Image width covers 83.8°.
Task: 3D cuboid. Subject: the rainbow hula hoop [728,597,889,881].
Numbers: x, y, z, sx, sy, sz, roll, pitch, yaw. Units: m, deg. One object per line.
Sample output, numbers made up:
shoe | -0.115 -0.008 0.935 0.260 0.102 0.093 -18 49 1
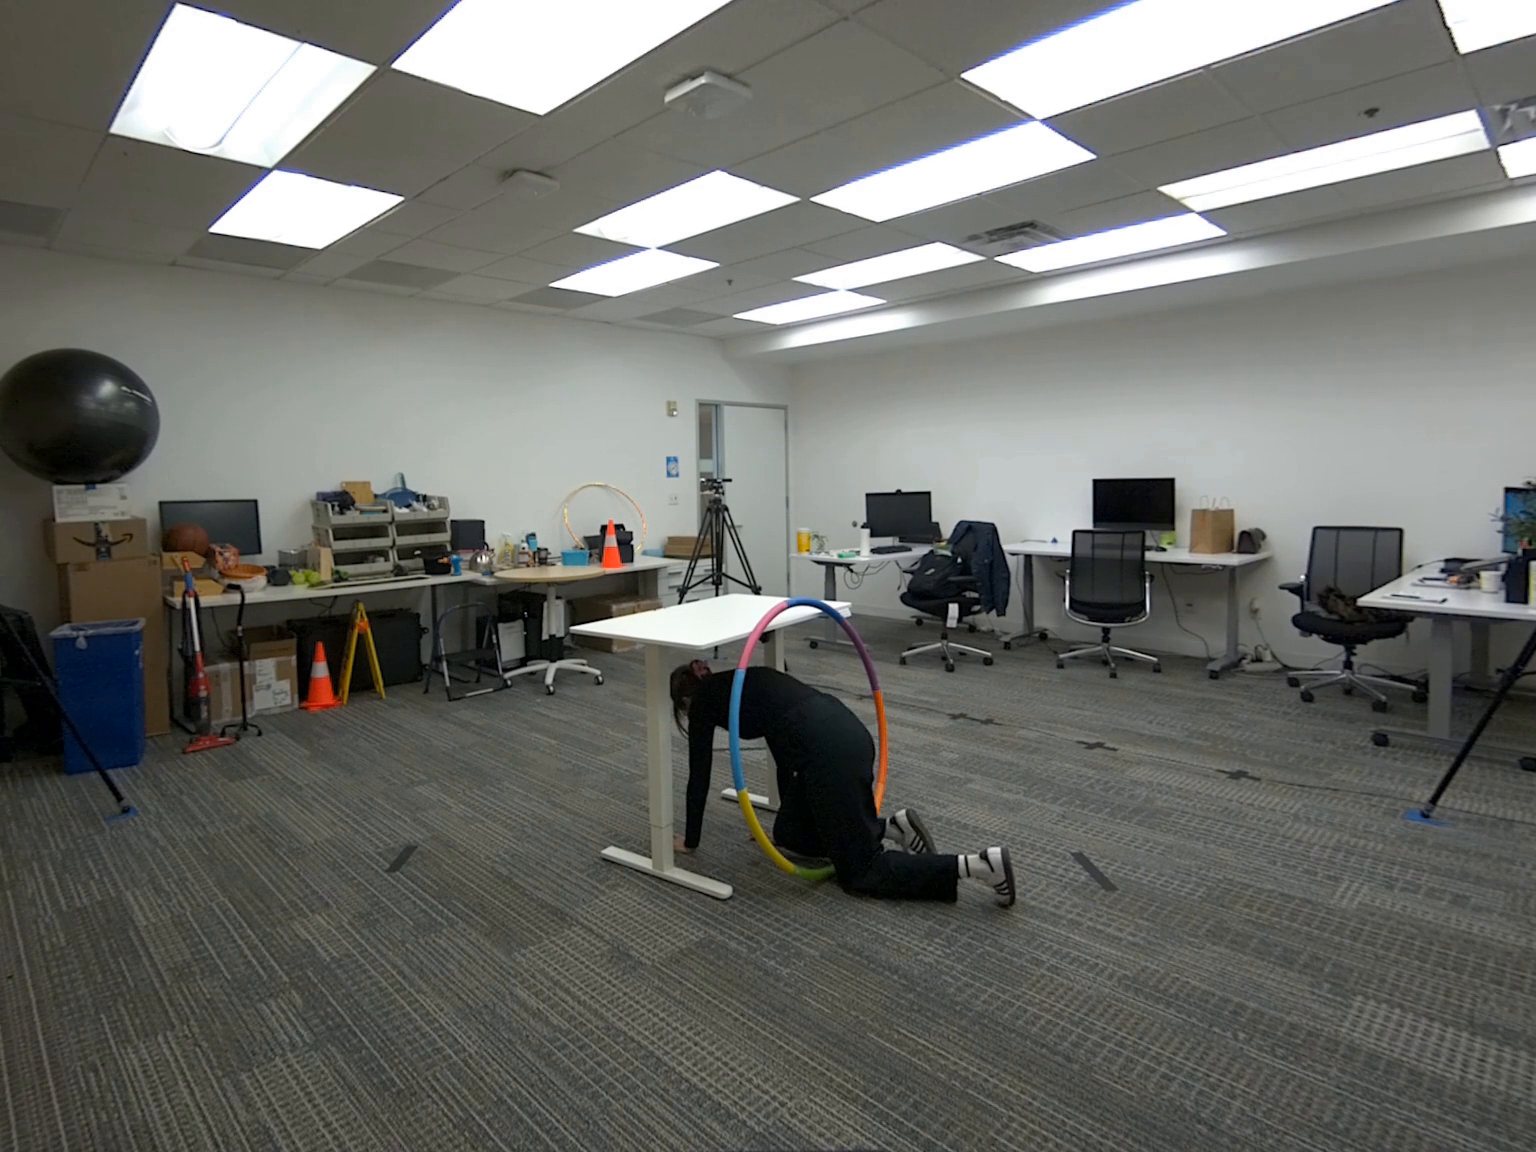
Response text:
rainbow hula hoop | 0.173 0.561 3.065 0.036 0.983 0.955 -14 -4 36
